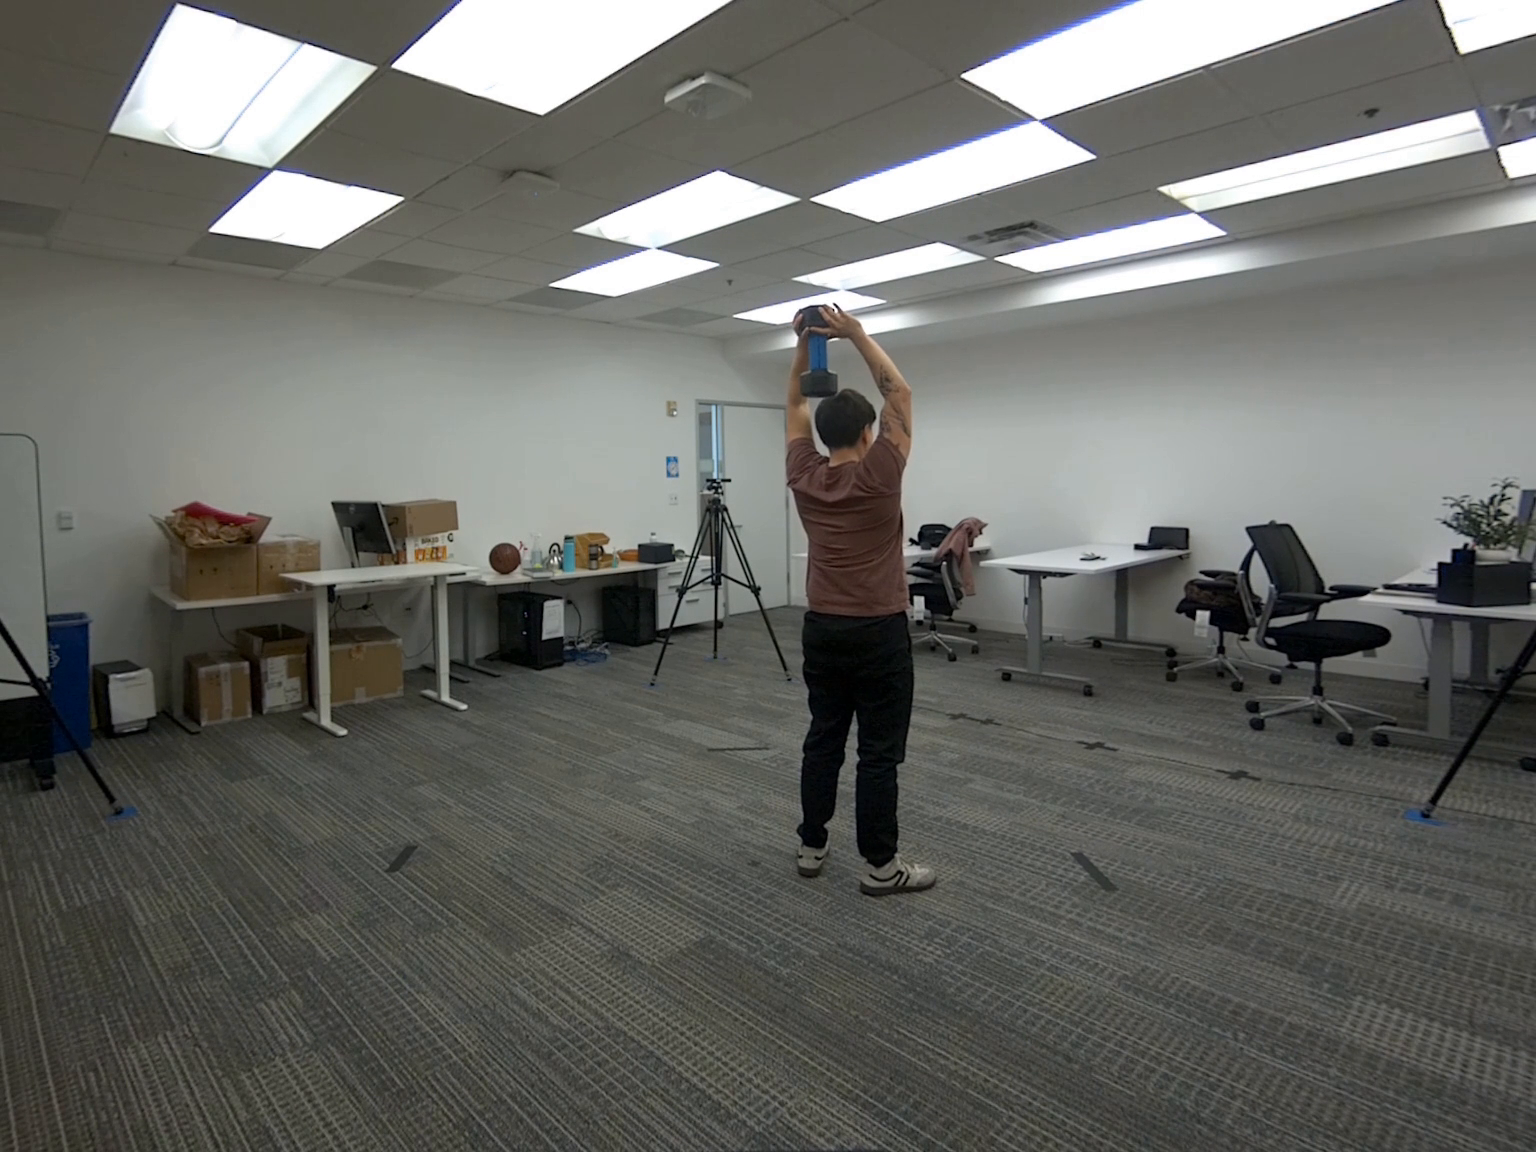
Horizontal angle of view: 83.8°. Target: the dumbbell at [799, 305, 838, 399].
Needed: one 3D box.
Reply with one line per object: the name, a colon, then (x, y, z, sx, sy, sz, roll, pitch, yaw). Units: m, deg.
dumbbell: (0.169, -0.730, 2.790, 0.112, 0.293, 0.119, 2, 0, 37)
